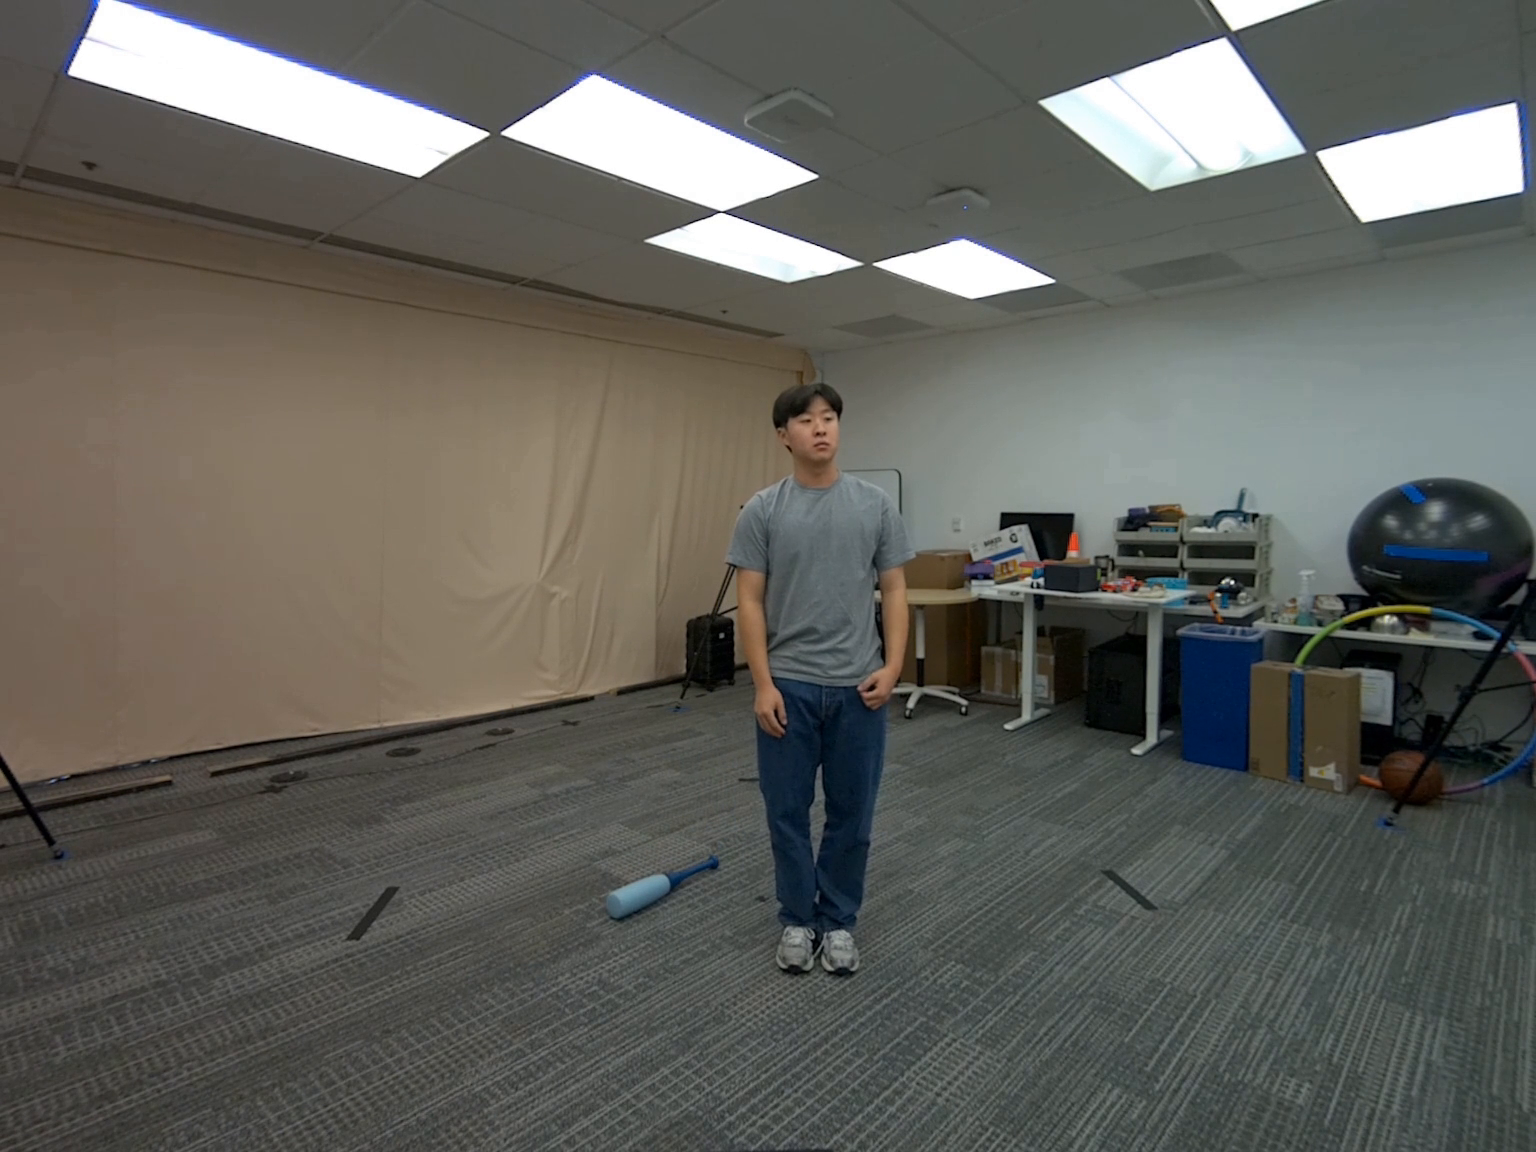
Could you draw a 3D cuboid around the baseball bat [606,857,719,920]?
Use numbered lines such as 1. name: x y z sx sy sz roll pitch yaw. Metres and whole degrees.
1. baseball bat: -0.363 1.106 3.031 0.092 0.089 0.526 3 3 38
